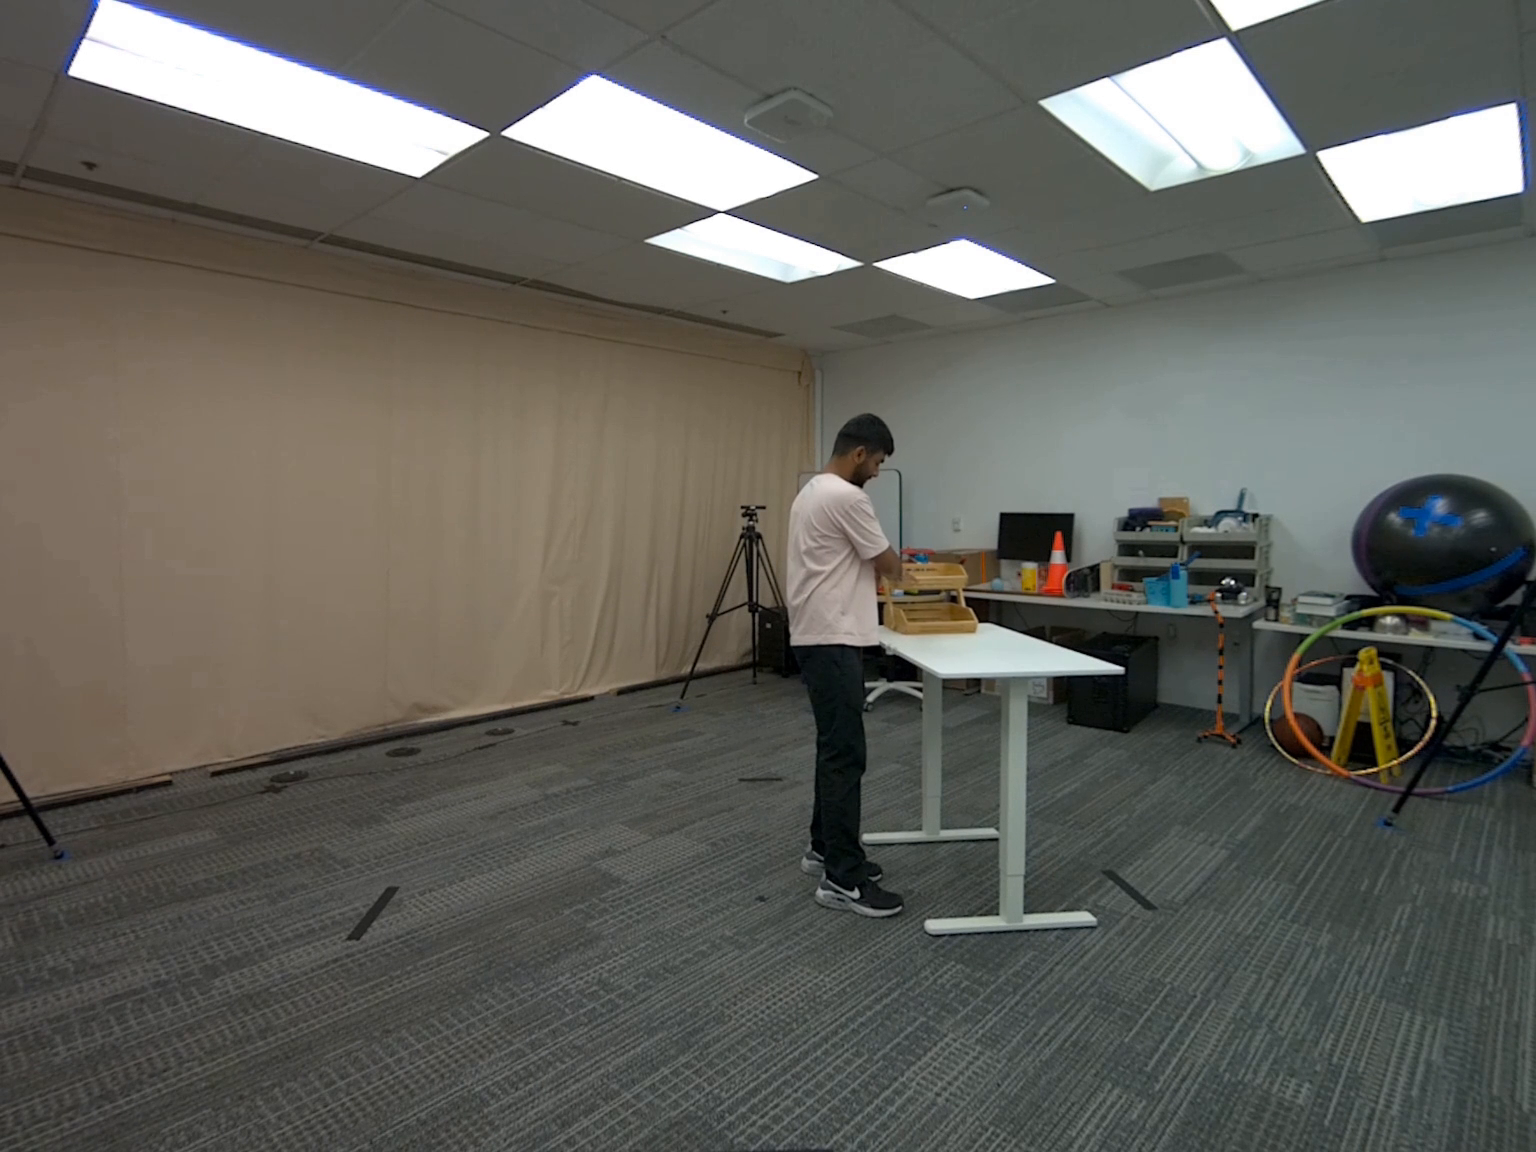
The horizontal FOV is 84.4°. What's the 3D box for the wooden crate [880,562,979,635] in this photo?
[{"bbox_3d":[0.663,0.083,3.441,0.322,0.273,0.305,-2,2,-9],"label":"wooden crate"}]
